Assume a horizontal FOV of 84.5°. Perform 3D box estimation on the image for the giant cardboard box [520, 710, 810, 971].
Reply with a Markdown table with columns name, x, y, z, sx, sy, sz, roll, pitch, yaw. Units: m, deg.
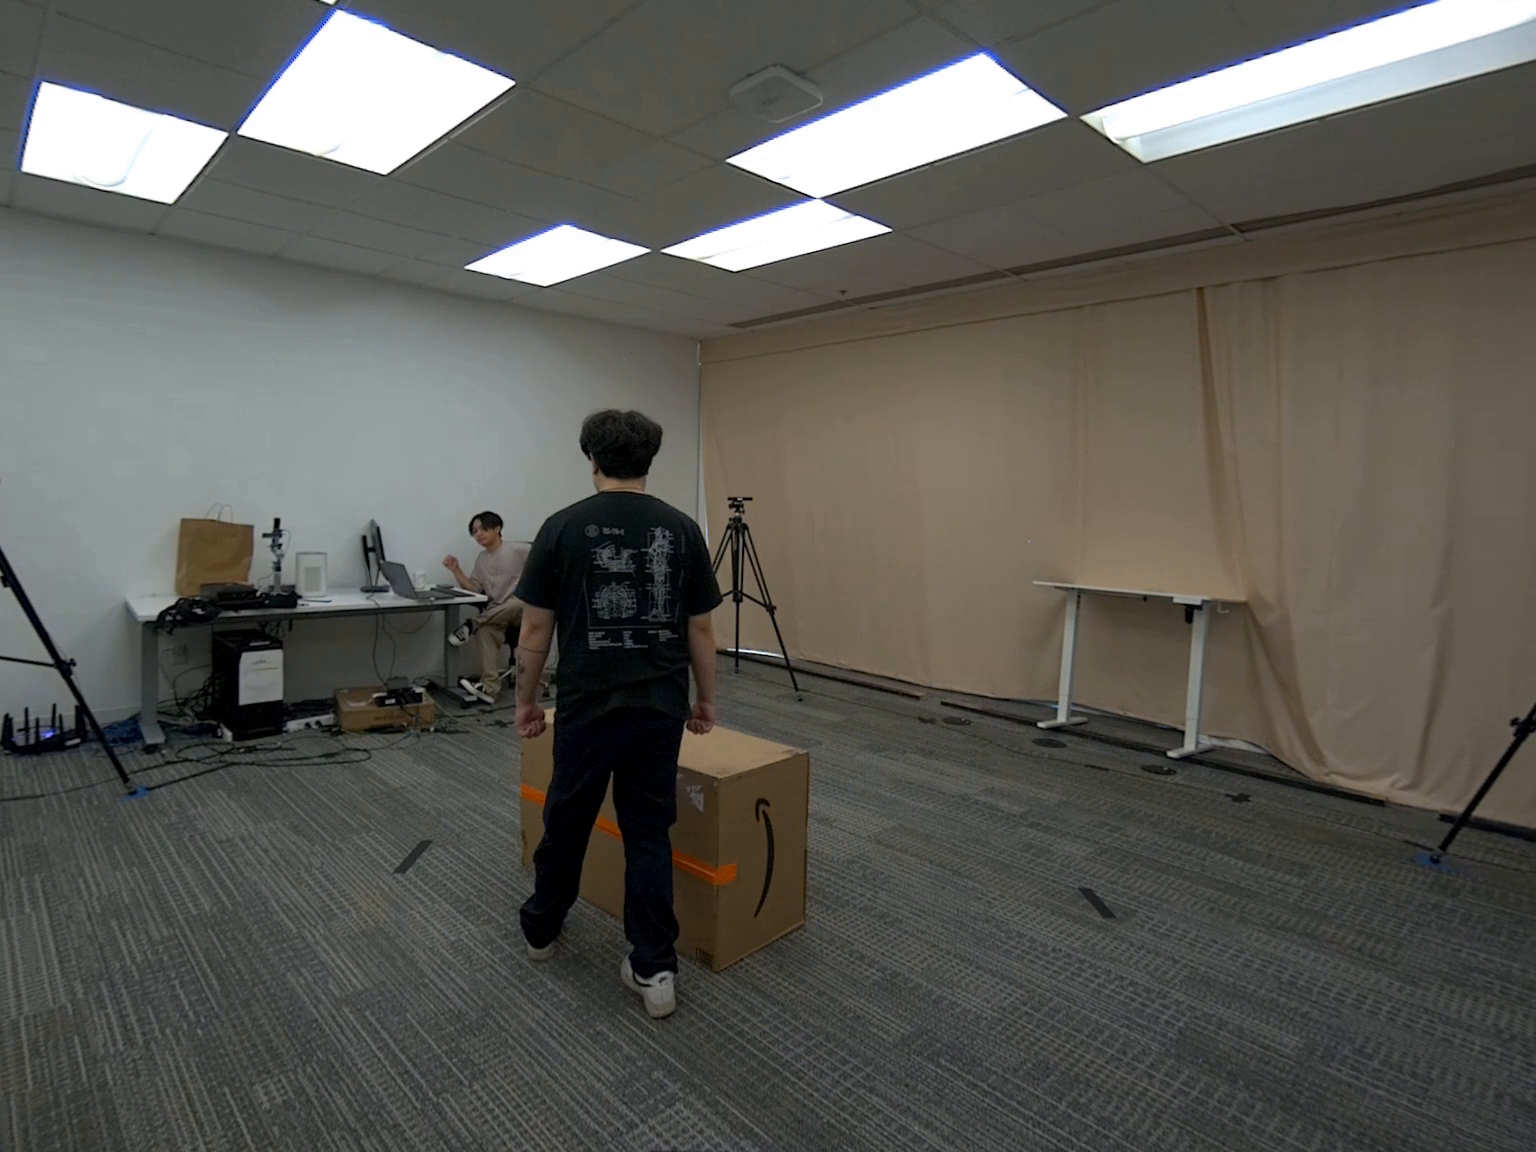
| name | x | y | z | sx | sy | sz | roll | pitch | yaw |
| --- | --- | --- | --- | --- | --- | --- | --- | --- | --- |
| giant cardboard box | -0.402 | 0.830 | 2.949 | 1.053 | 0.582 | 0.437 | 5 | 6 | 42 |
